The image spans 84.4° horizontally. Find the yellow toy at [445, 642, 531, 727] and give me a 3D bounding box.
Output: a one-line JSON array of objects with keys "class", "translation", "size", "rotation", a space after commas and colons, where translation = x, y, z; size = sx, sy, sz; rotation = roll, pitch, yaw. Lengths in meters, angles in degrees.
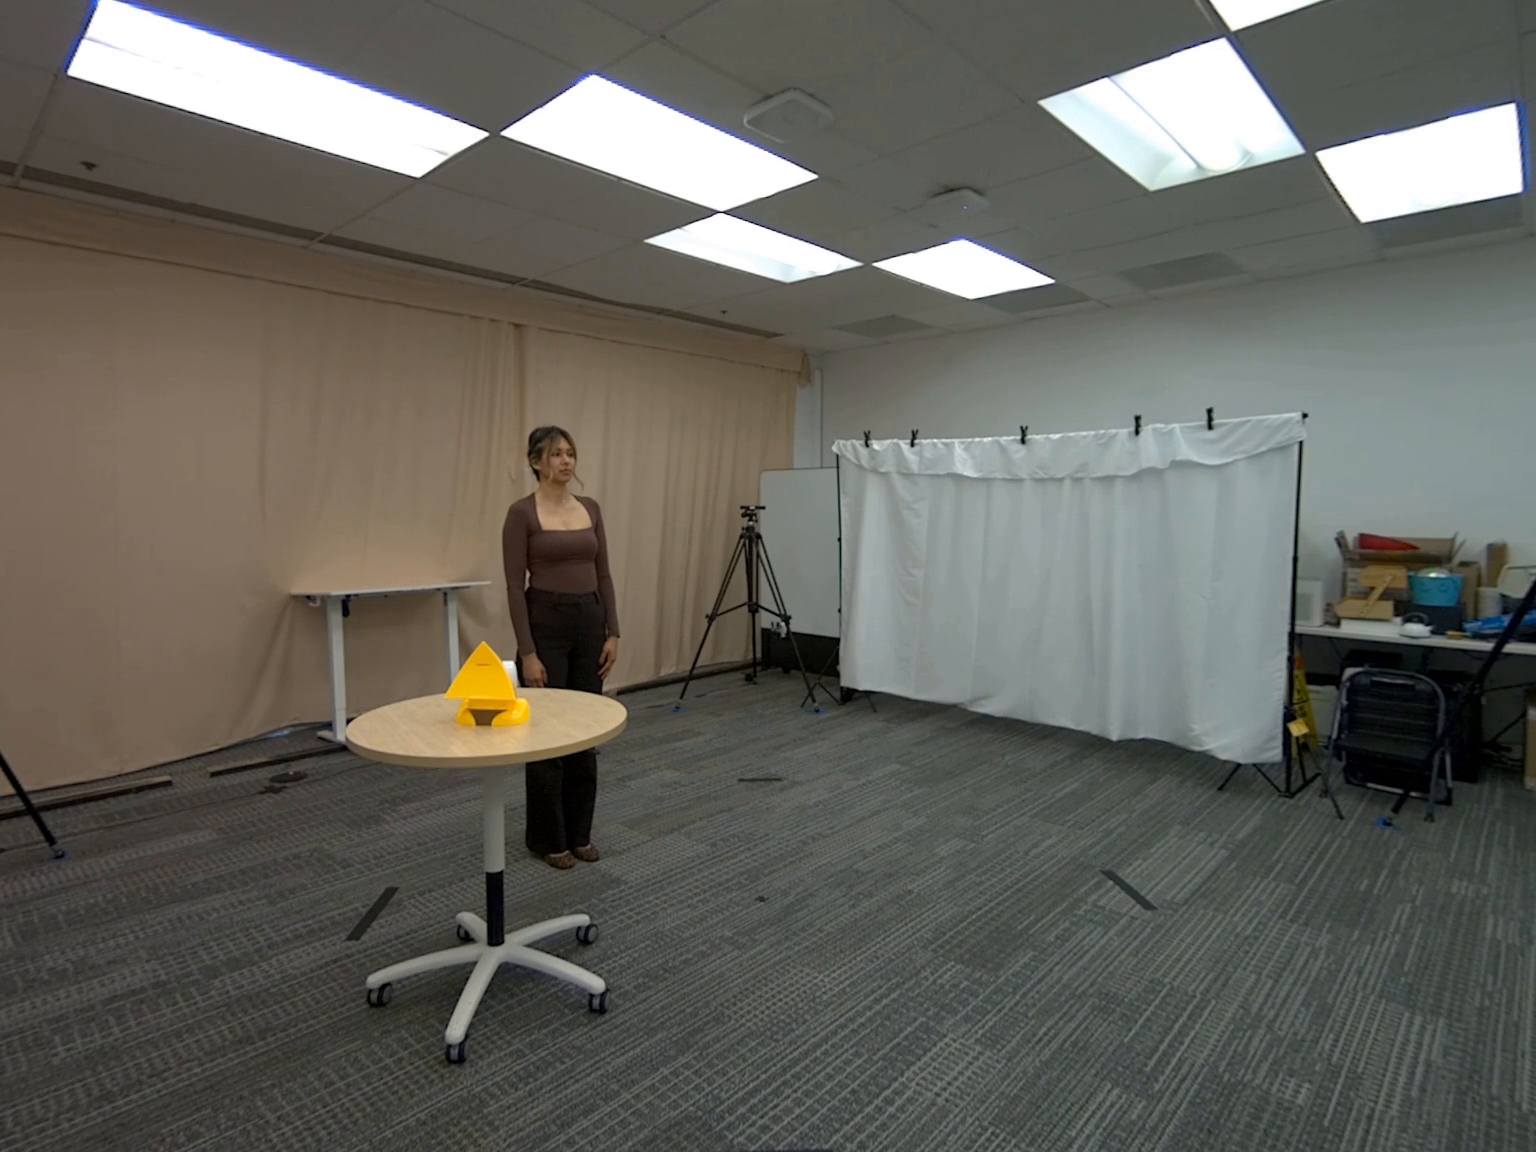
[{"class": "yellow toy", "translation": [-0.778, 0.292, 2.354], "size": [0.206, 0.230, 0.192], "rotation": [1, 3, 4]}]
